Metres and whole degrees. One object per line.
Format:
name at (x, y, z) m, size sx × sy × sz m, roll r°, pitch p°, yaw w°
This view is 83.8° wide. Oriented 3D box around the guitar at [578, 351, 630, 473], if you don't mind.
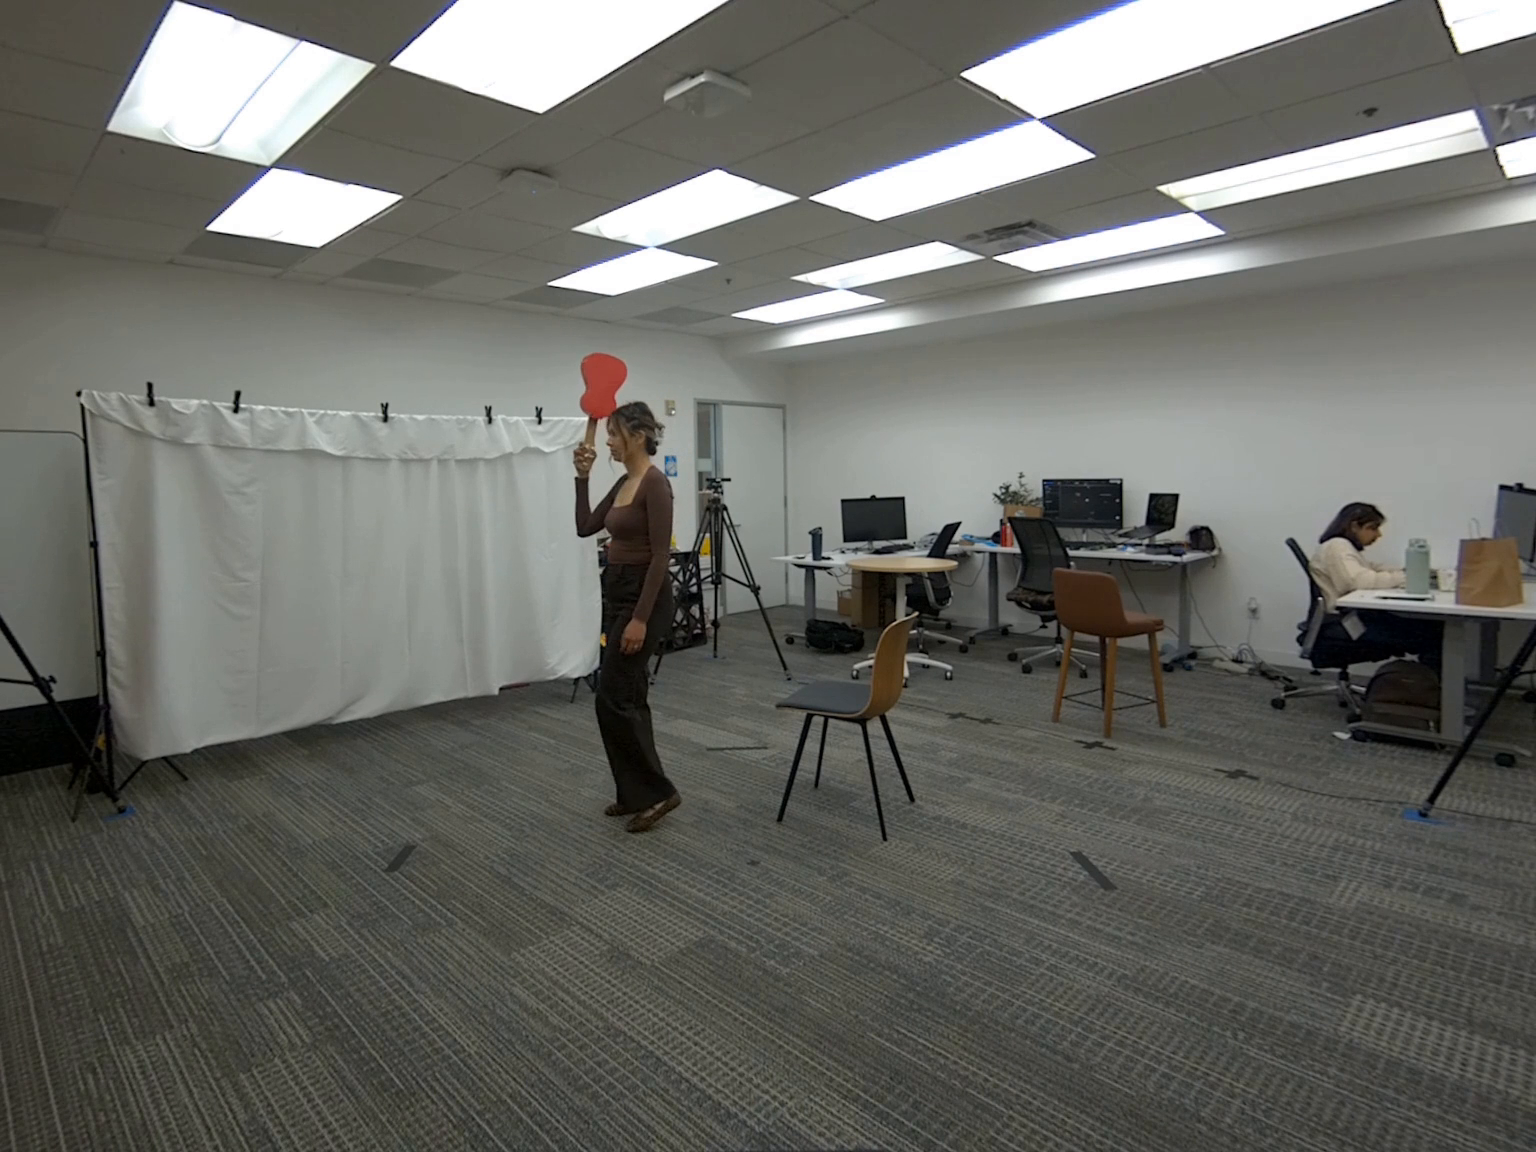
guitar at (-0.706, -0.698, 3.669) m, size 0.188 × 0.497 × 0.073 m, roll 0°, pitch 3°, yaw -34°
